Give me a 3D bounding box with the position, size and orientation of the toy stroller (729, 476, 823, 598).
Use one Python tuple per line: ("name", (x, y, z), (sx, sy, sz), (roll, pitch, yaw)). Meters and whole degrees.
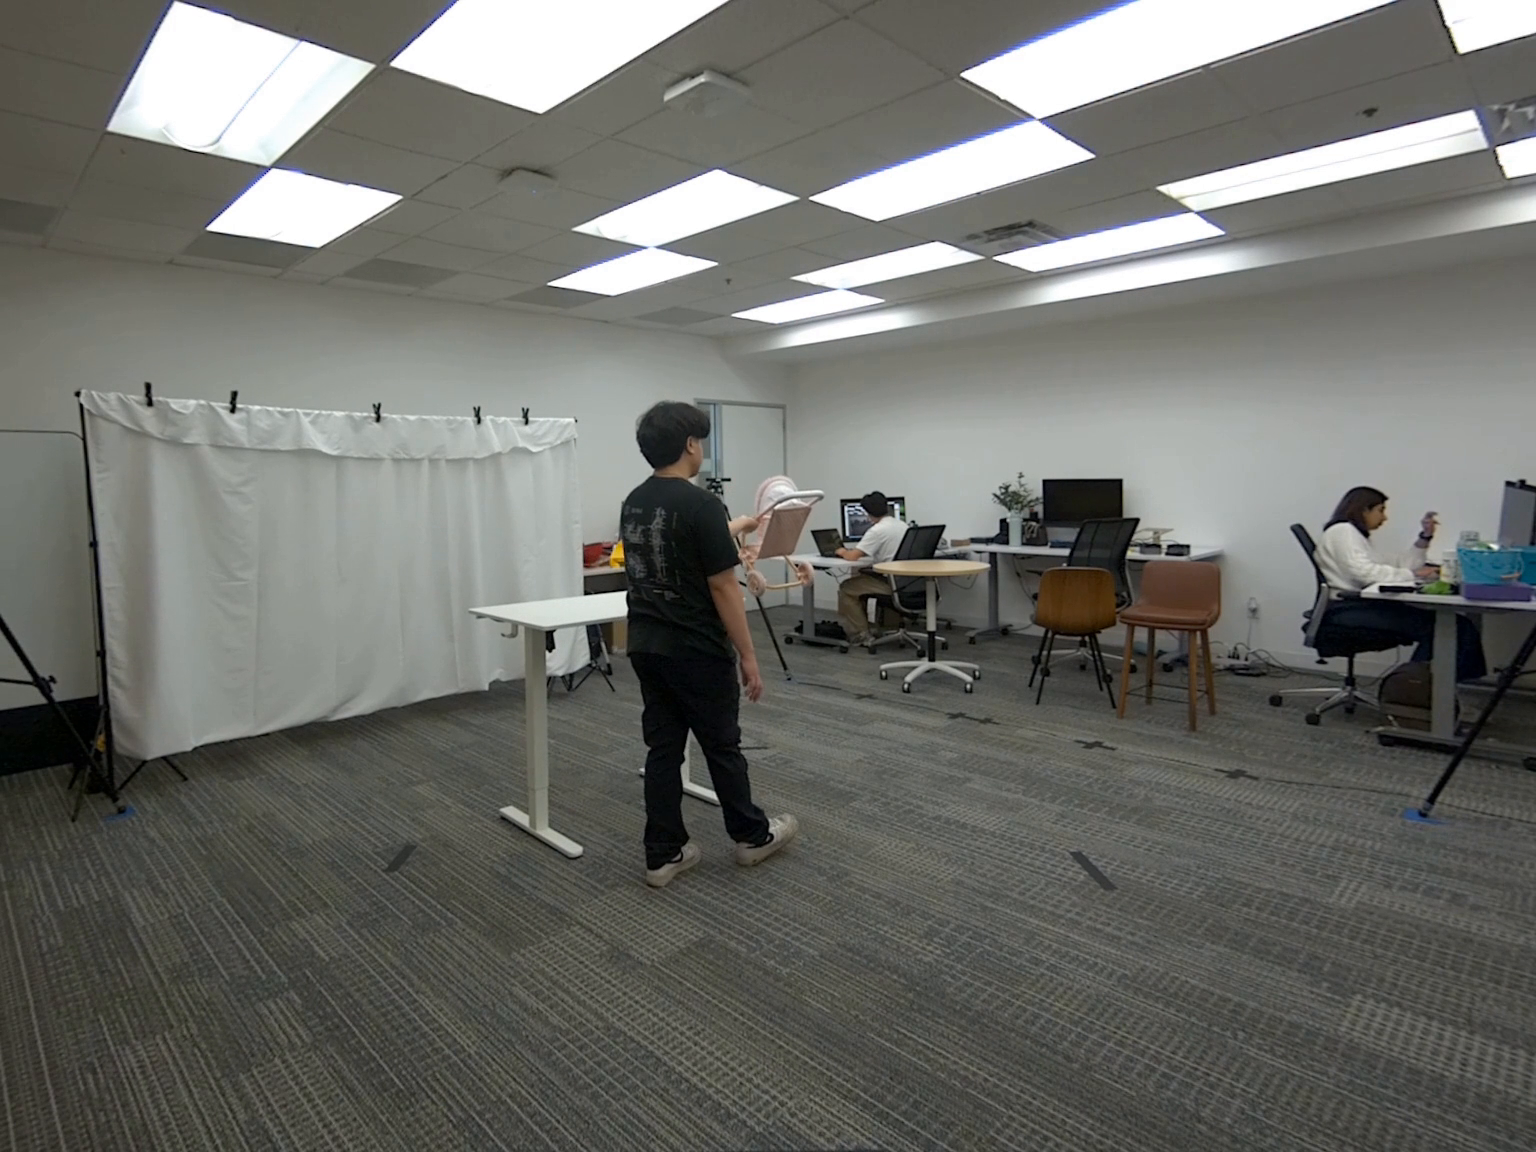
("toy stroller", (0.029, -0.177, 3.491), (0.275, 0.525, 0.355), (-7, 32, -28))
